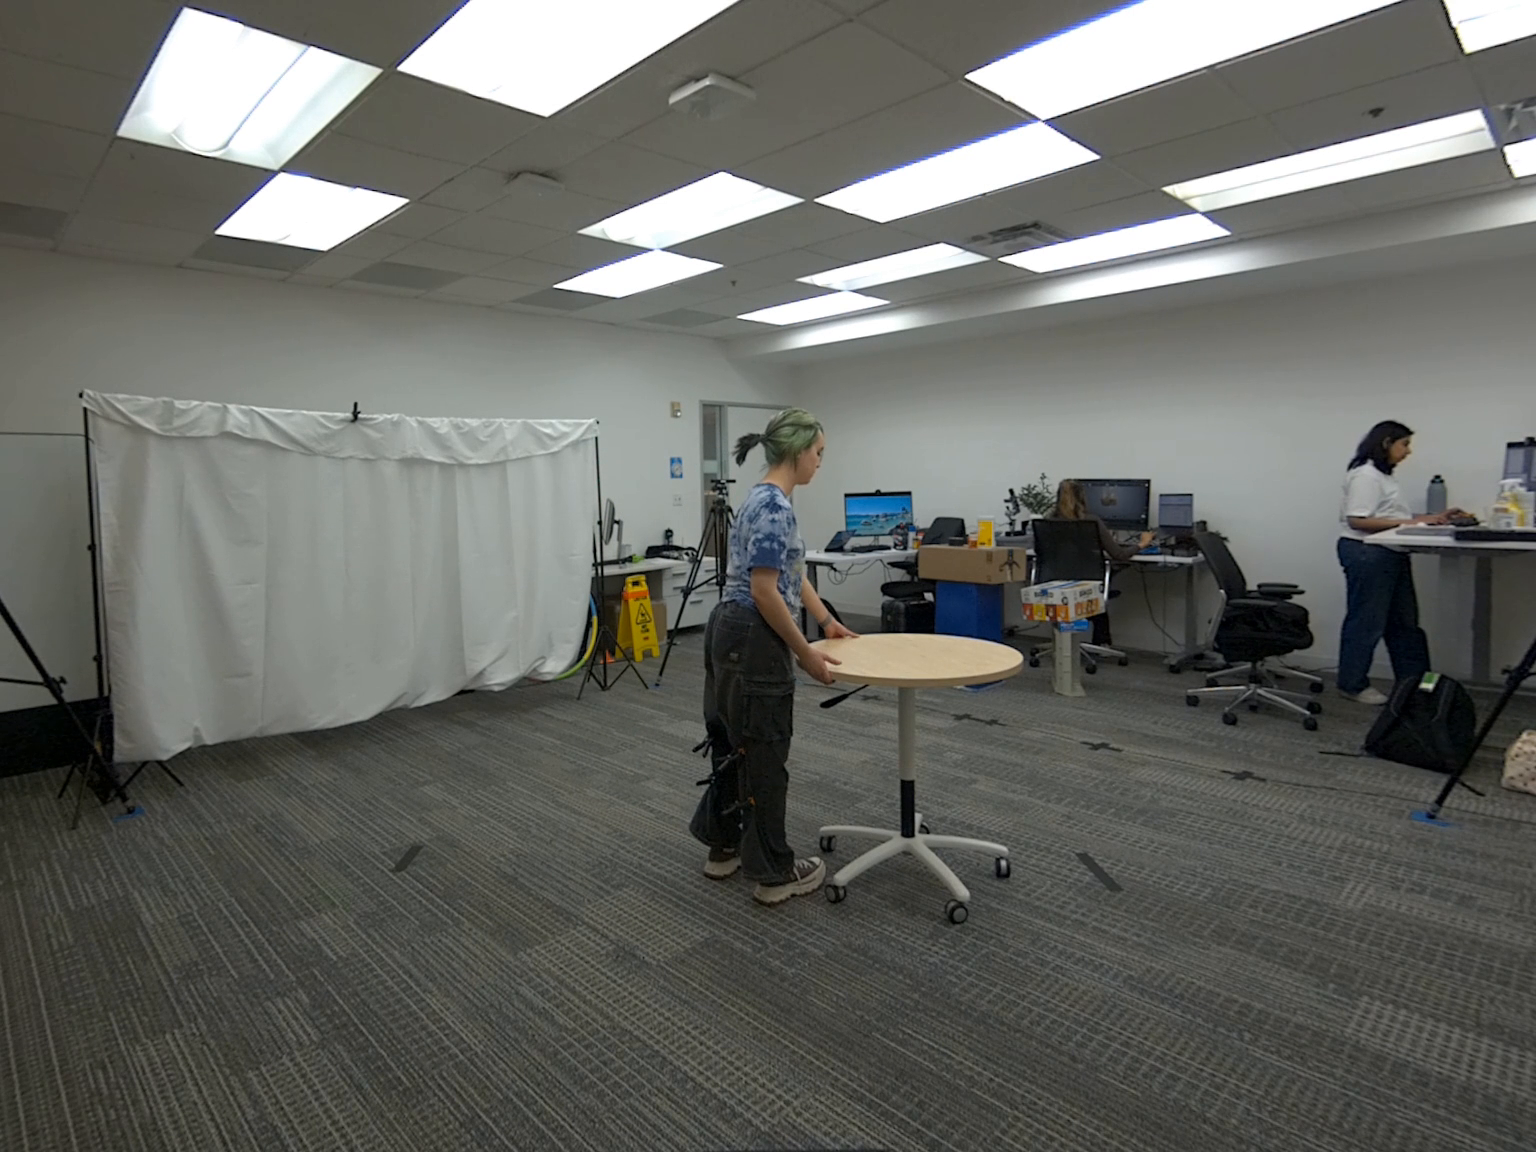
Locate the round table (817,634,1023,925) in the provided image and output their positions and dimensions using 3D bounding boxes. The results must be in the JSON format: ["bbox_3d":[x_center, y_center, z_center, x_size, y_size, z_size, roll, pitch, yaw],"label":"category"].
[{"bbox_3d":[0.485,0.660,2.982,0.763,0.791,0.767,-1,4,-2],"label":"round table"}]
